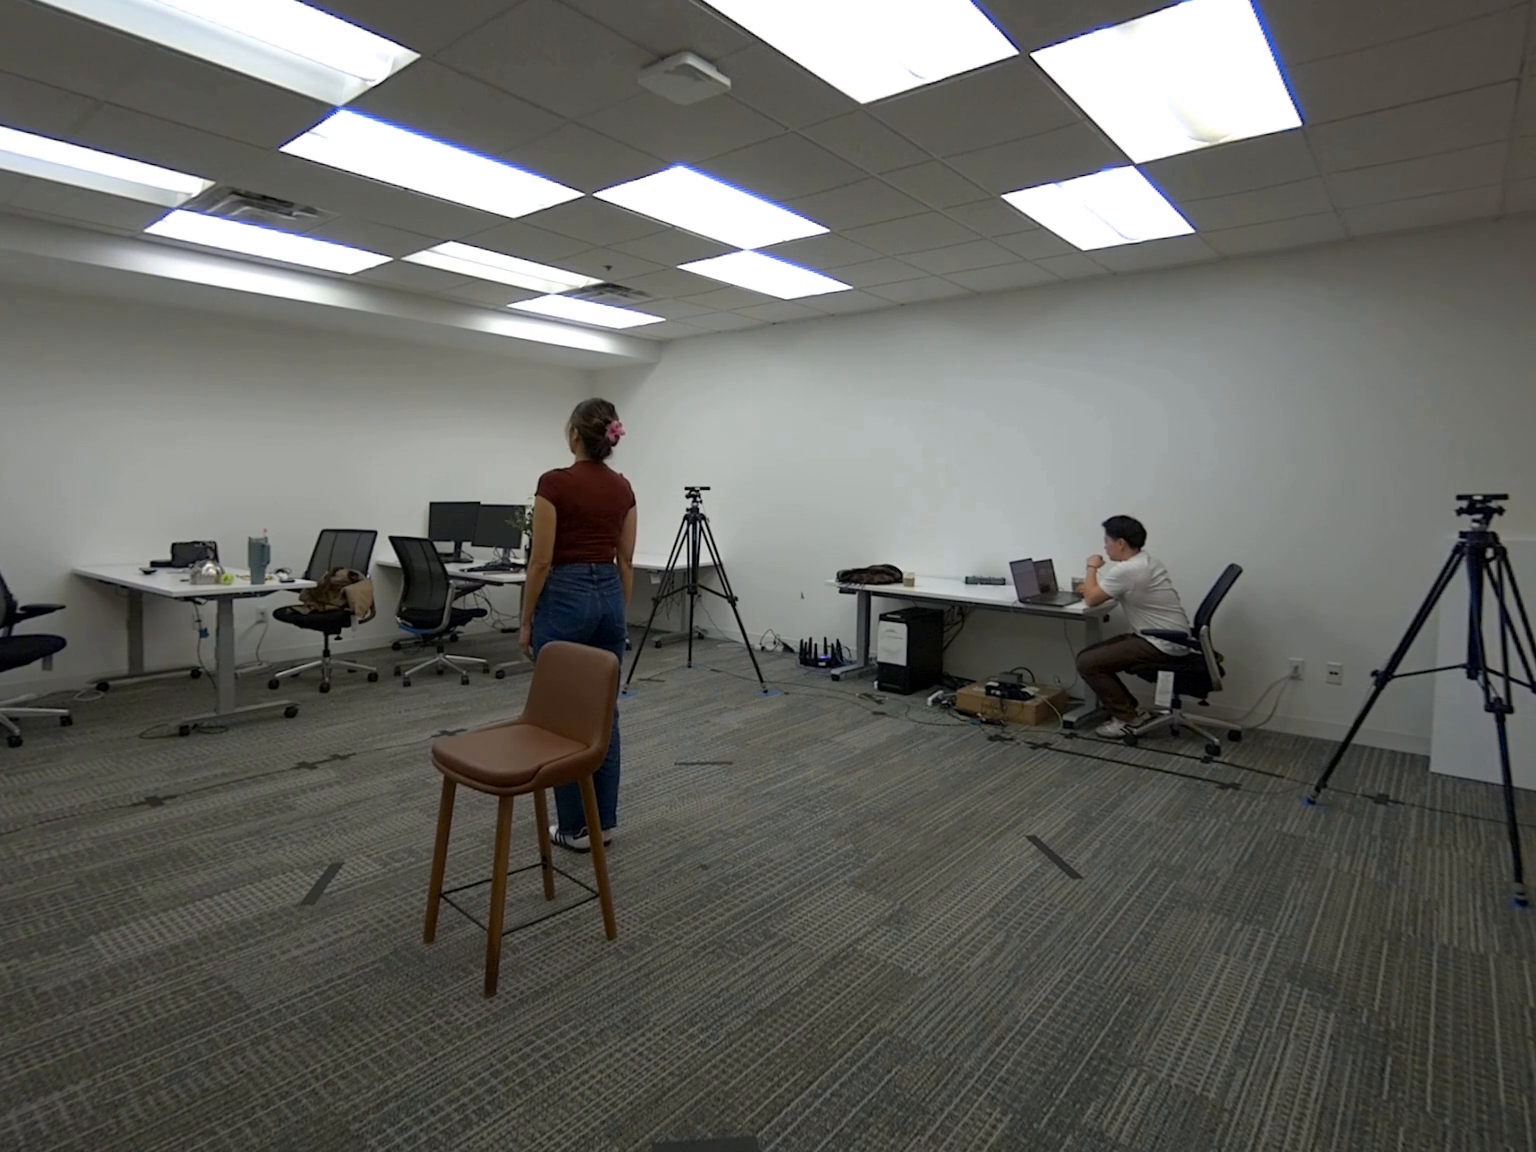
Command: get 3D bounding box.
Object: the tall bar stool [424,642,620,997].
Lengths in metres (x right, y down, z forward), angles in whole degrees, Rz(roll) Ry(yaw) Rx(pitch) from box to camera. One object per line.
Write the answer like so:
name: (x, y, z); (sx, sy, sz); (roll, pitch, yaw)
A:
tall bar stool: (-0.751, 0.677, 2.577); (0.472, 0.888, 0.453); (4, 4, 44)
